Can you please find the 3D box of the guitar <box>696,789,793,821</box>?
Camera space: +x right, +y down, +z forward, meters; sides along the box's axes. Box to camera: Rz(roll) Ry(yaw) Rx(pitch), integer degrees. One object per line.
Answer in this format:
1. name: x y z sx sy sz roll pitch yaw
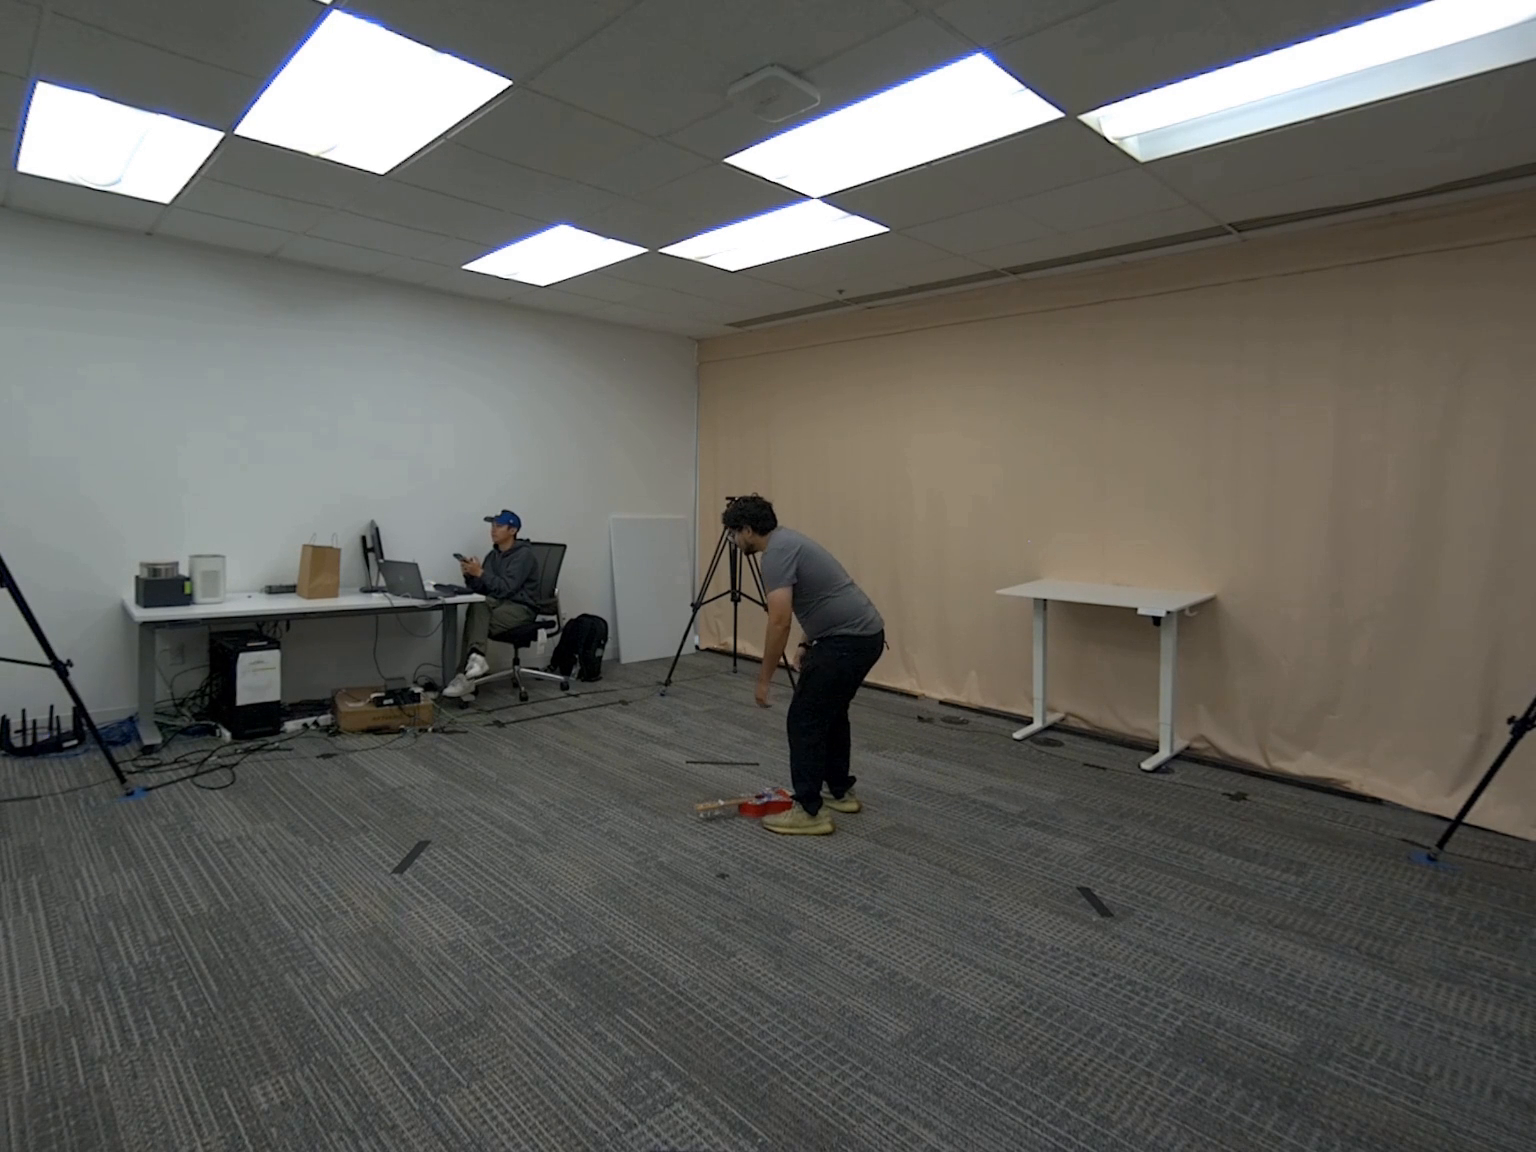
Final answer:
1. guitar: -0.122 1.017 3.771 0.490 0.070 0.196 -1 5 -21
